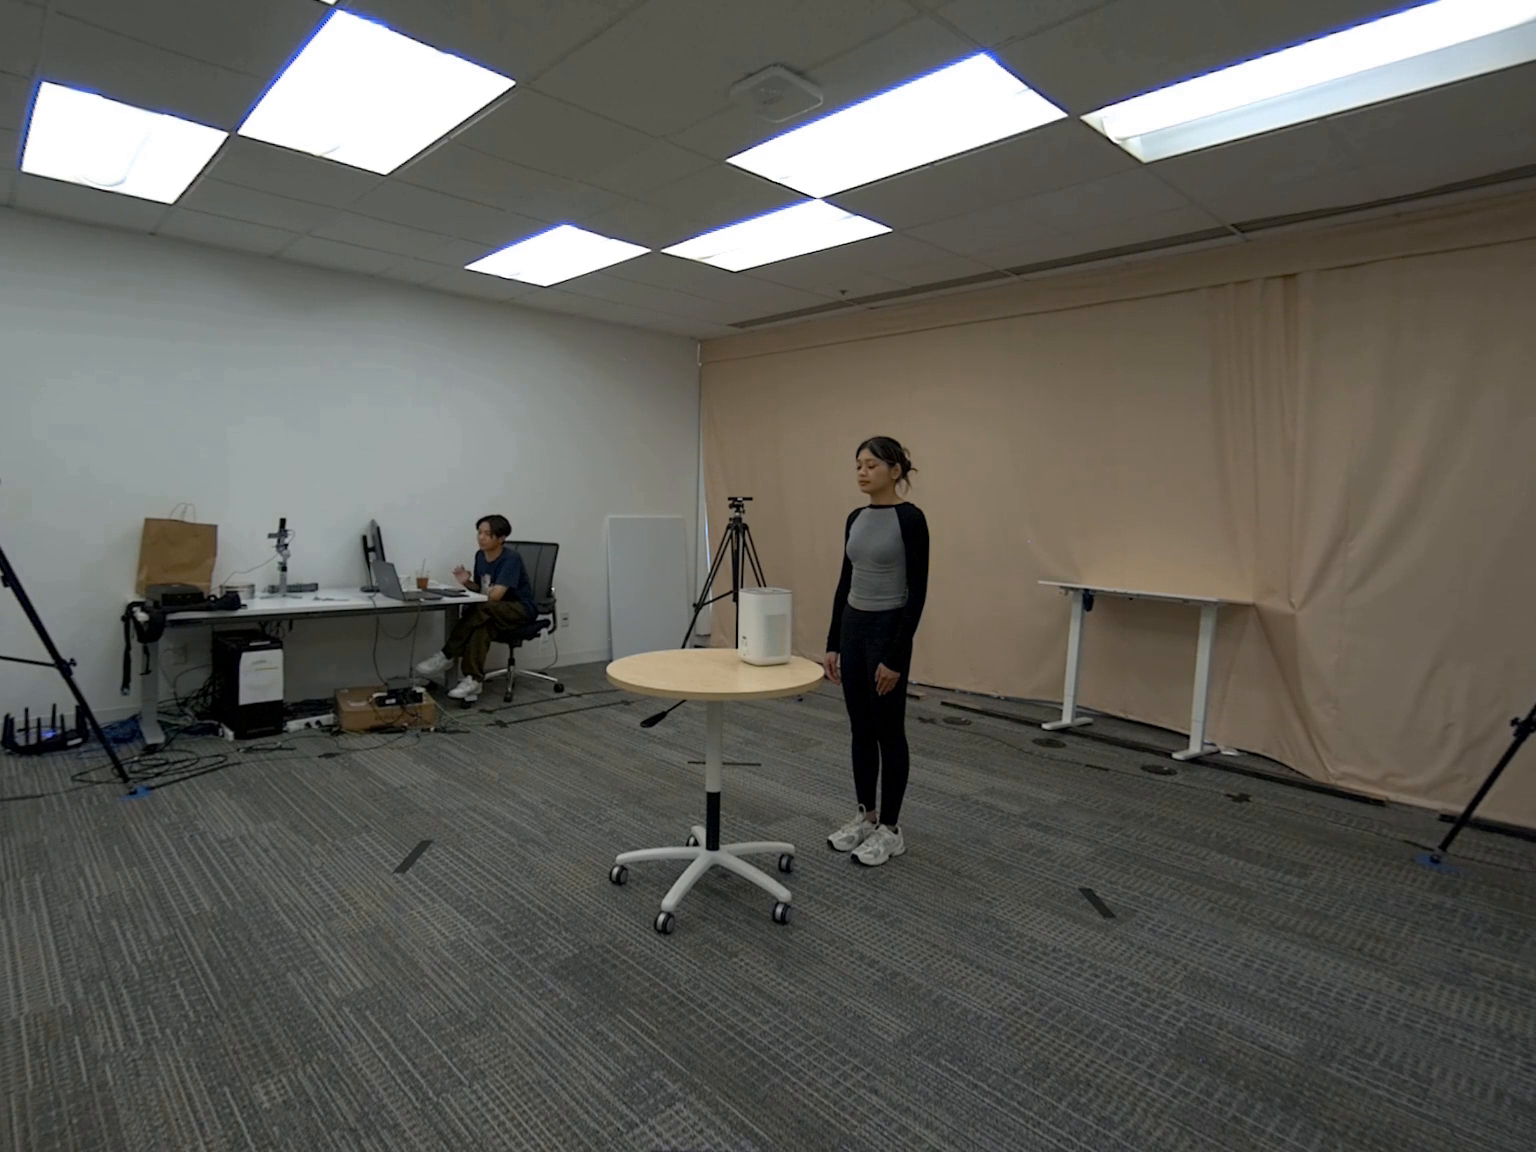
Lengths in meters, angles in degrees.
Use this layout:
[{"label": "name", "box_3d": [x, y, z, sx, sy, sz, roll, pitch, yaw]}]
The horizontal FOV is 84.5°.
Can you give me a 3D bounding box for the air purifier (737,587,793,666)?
[{"label": "air purifier", "box_3d": [-0.018, 0.180, 3.081, 0.168, 0.265, 0.175, 0, 2, -28]}]
